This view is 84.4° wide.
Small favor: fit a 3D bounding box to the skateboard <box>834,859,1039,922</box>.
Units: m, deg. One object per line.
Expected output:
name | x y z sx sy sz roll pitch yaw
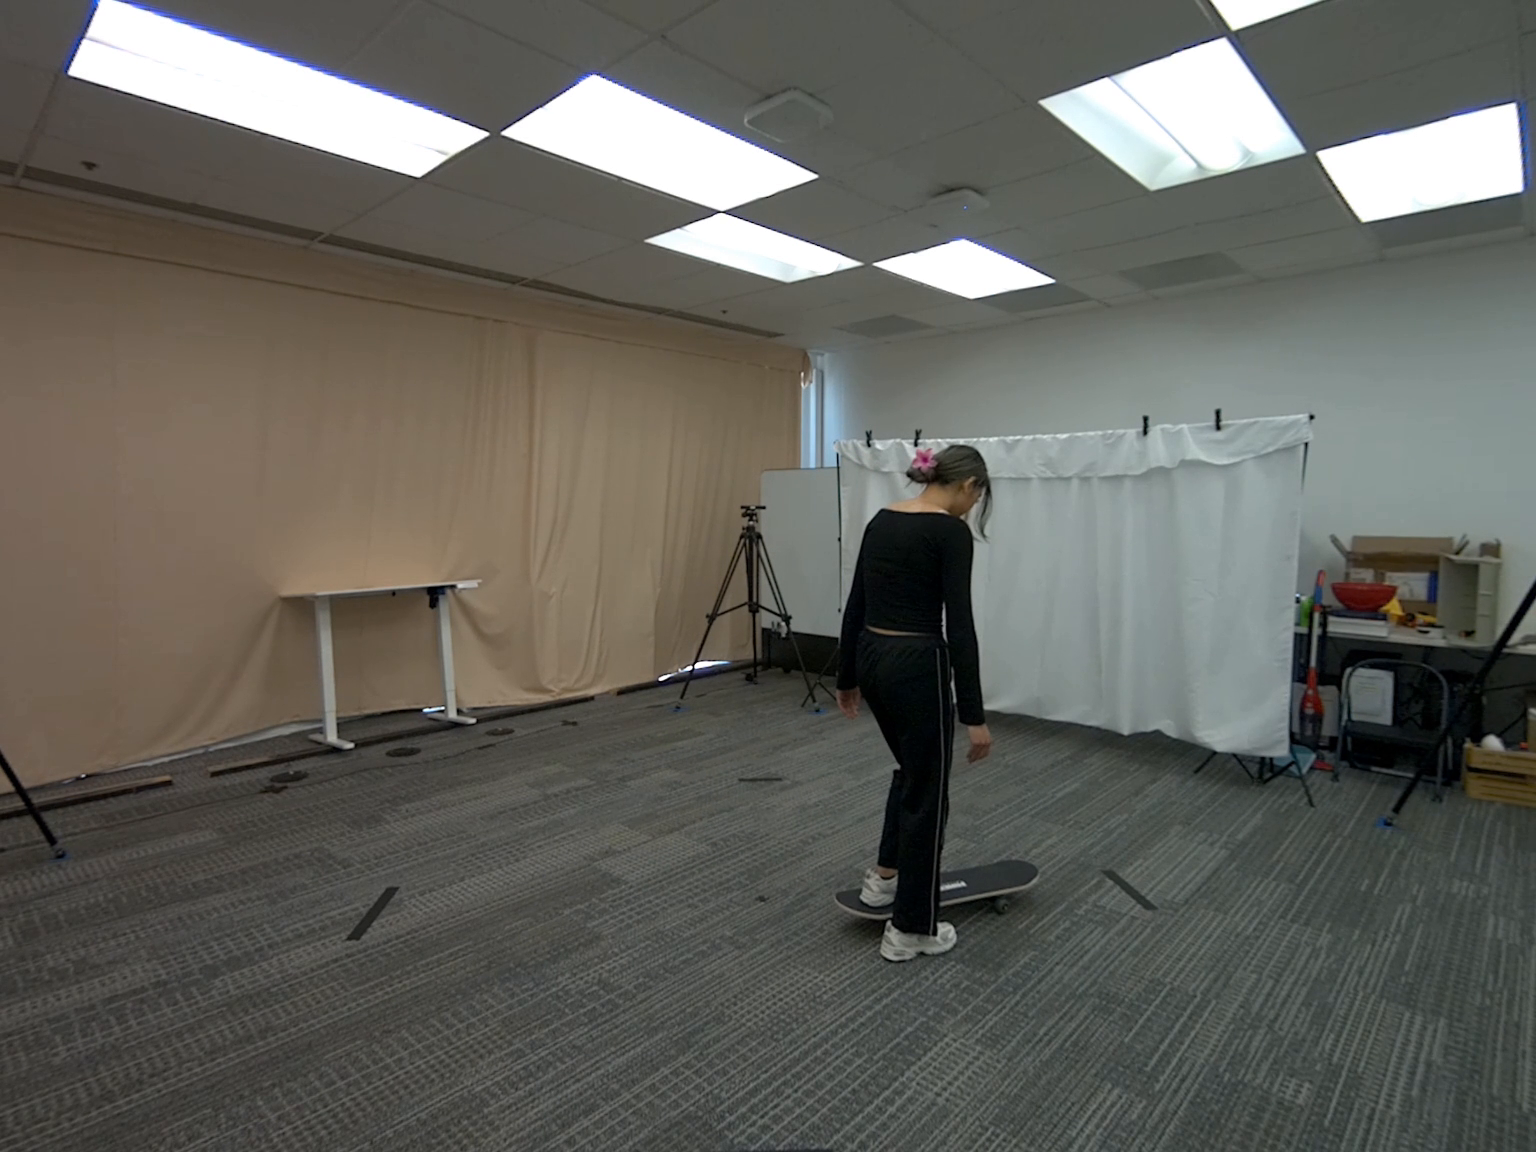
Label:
skateboard | 0.581 1.092 2.867 0.769 0.110 0.198 -2 4 -21
